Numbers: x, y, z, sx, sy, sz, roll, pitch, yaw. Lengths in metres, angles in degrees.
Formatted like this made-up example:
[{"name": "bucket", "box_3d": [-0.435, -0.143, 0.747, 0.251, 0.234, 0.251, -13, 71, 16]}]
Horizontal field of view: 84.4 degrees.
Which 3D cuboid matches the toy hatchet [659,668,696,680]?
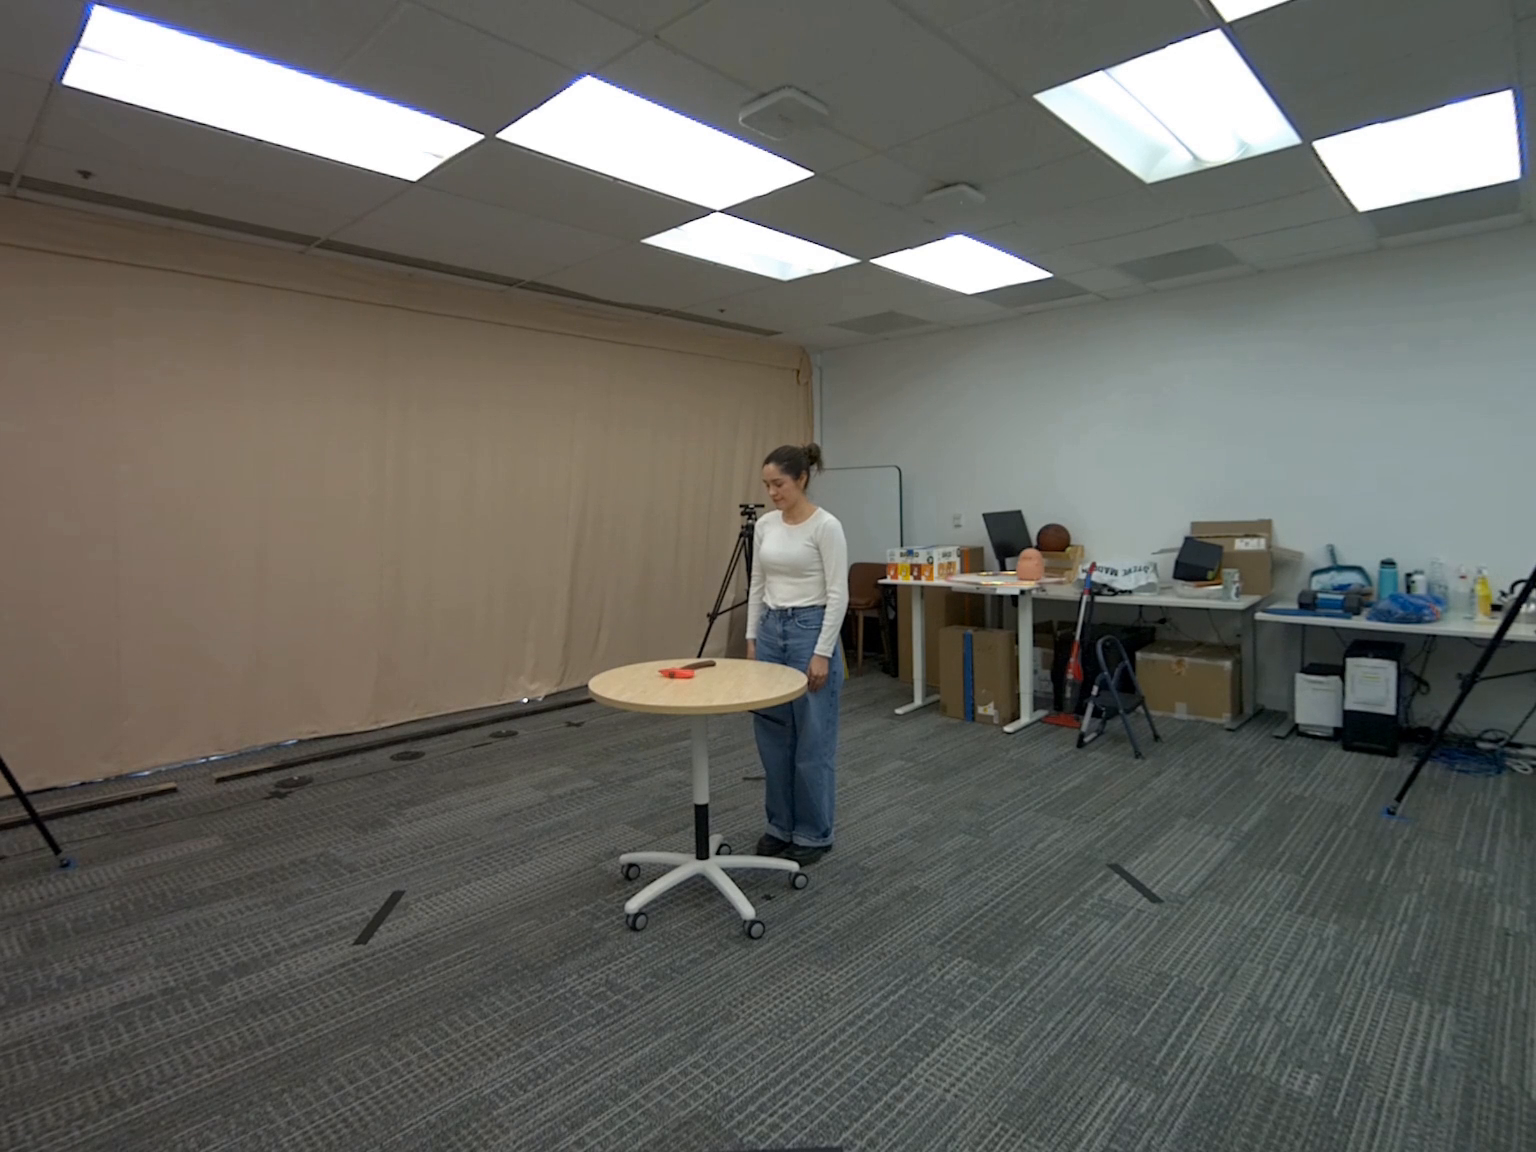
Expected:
[{"name": "toy hatchet", "box_3d": [-0.264, 0.340, 3.076, 0.135, 0.029, 0.262, 6, 8, 41]}]
